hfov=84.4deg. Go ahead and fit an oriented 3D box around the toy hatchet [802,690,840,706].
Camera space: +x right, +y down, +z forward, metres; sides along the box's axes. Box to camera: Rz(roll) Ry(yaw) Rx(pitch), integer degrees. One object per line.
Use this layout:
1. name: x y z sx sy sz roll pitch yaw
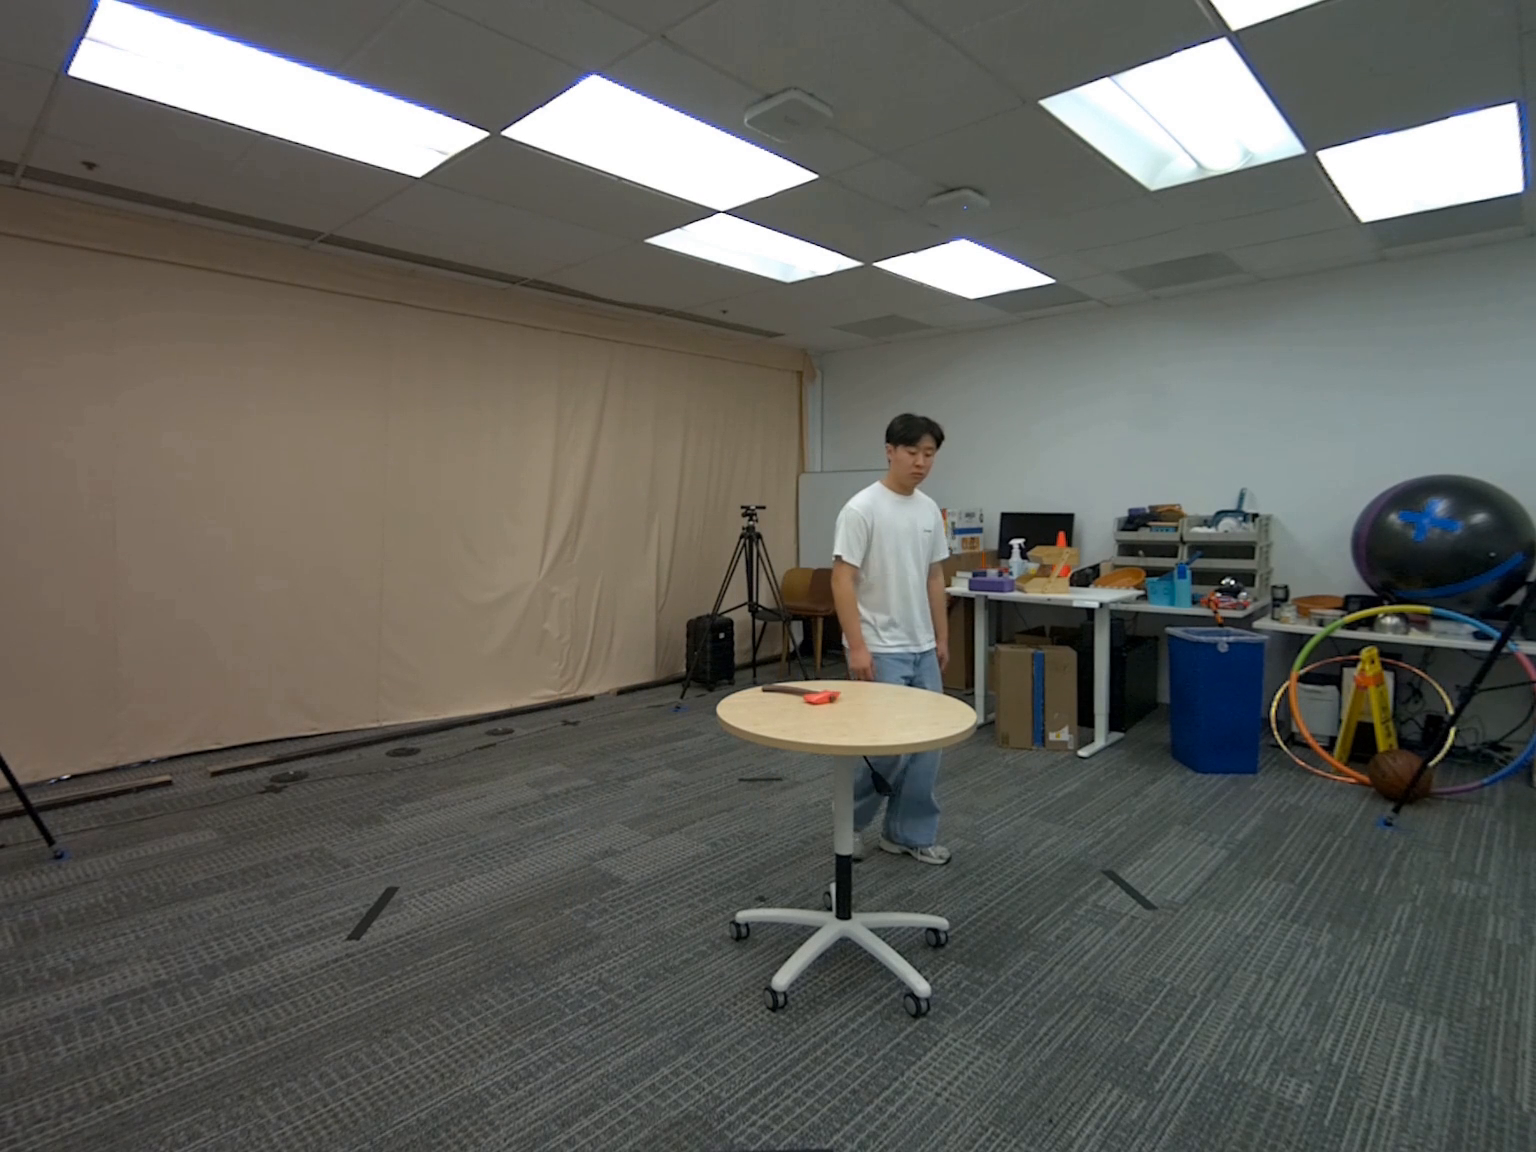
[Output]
1. toy hatchet: 0.092 0.379 2.655 0.277 0.029 0.128 0 9 27
